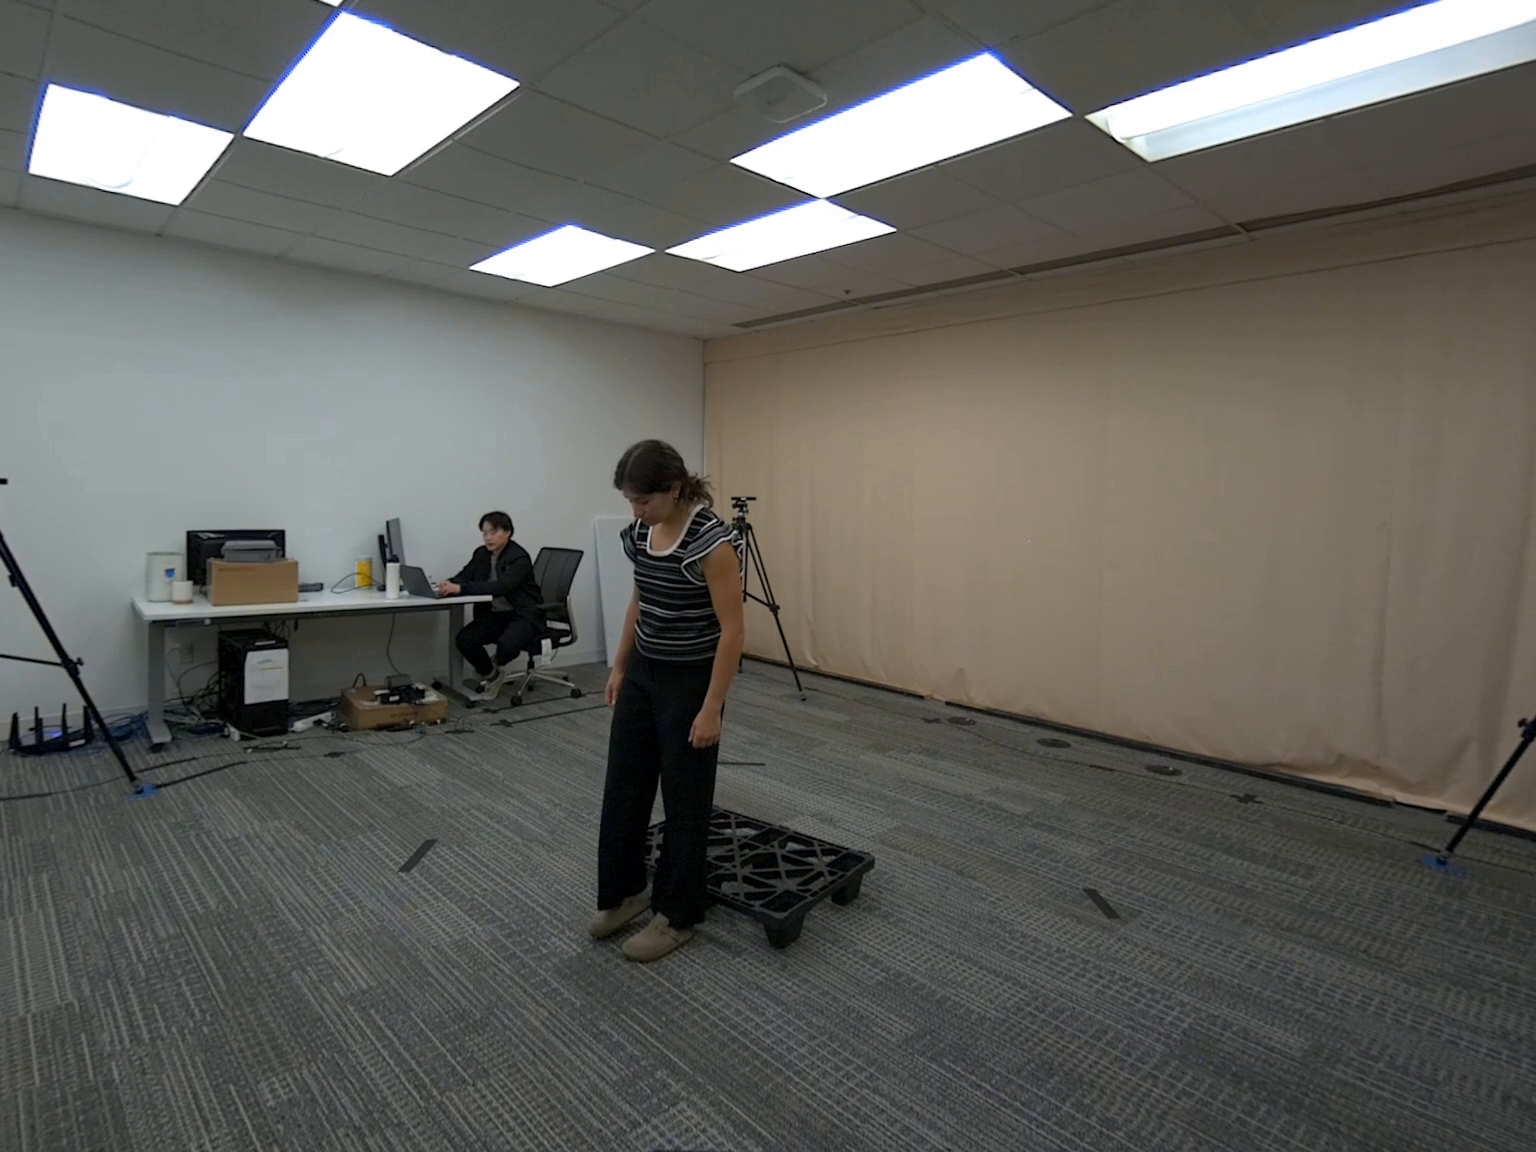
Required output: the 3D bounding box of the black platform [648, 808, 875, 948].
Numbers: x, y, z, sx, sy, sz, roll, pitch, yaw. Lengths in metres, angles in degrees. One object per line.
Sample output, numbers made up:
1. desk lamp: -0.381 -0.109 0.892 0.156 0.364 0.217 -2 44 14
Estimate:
1. black platform: -0.117 1.050 3.002 0.825 0.143 0.592 5 7 37
